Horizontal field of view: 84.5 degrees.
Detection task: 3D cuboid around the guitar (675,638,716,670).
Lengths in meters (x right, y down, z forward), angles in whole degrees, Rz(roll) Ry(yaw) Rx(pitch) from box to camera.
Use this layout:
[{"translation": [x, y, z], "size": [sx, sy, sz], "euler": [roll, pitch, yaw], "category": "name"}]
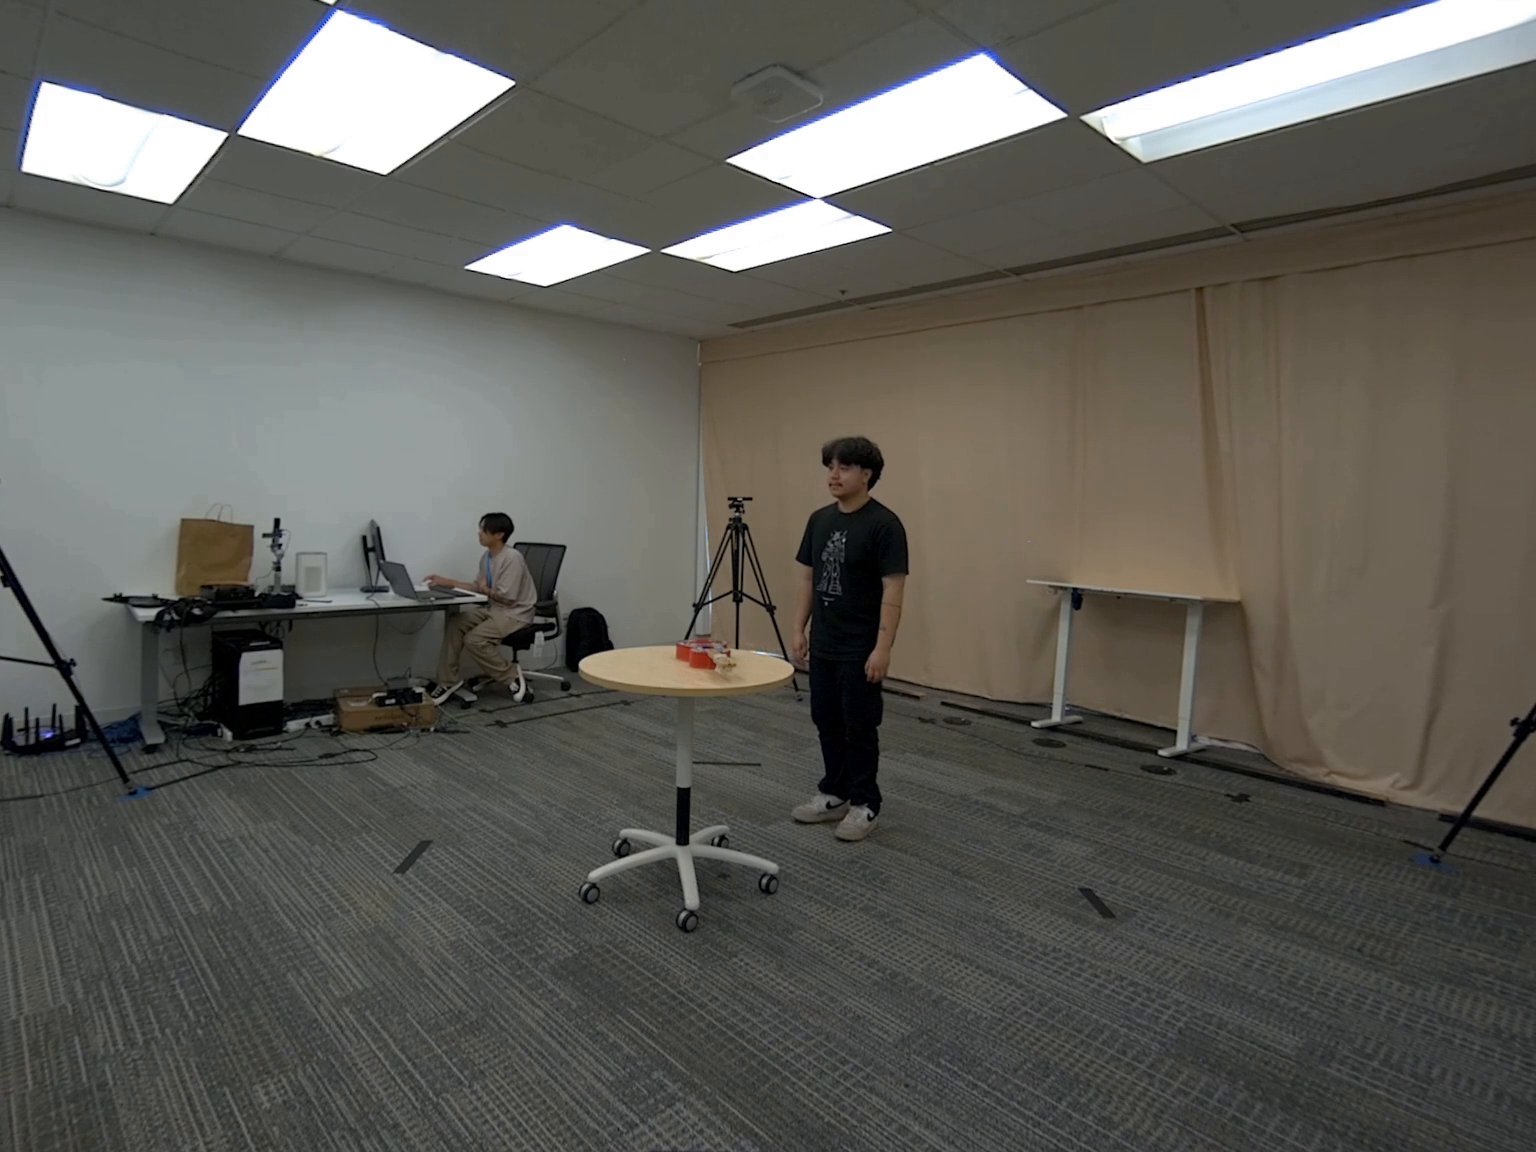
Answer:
[{"translation": [-0.240, 0.282, 2.988], "size": [0.192, 0.070, 0.503], "euler": [-2, 7, -8], "category": "guitar"}]
